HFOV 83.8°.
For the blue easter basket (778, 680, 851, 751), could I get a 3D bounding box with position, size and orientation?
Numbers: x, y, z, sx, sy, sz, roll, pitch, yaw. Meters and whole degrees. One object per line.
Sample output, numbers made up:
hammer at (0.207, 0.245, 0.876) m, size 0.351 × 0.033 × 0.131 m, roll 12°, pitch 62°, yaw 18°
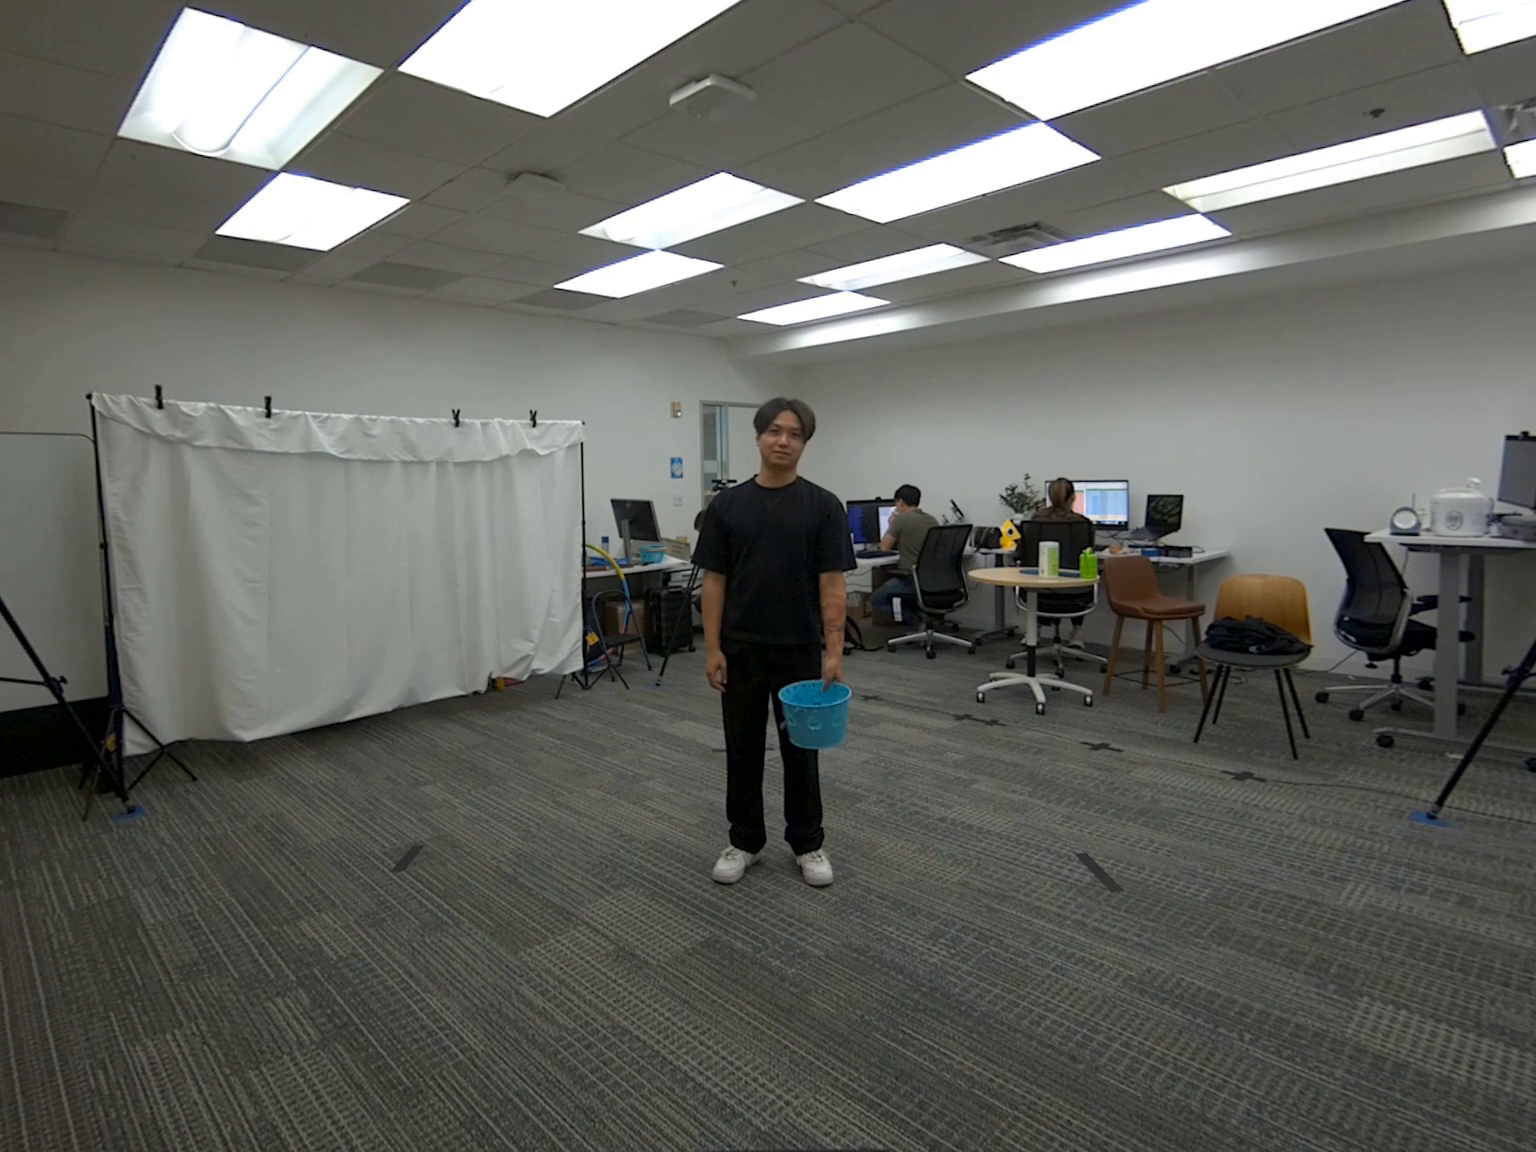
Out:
blue easter basket at (0.159, 0.439, 2.767) m, size 0.243 × 0.154 × 0.246 m, roll -4°, pitch 12°, yaw -1°
